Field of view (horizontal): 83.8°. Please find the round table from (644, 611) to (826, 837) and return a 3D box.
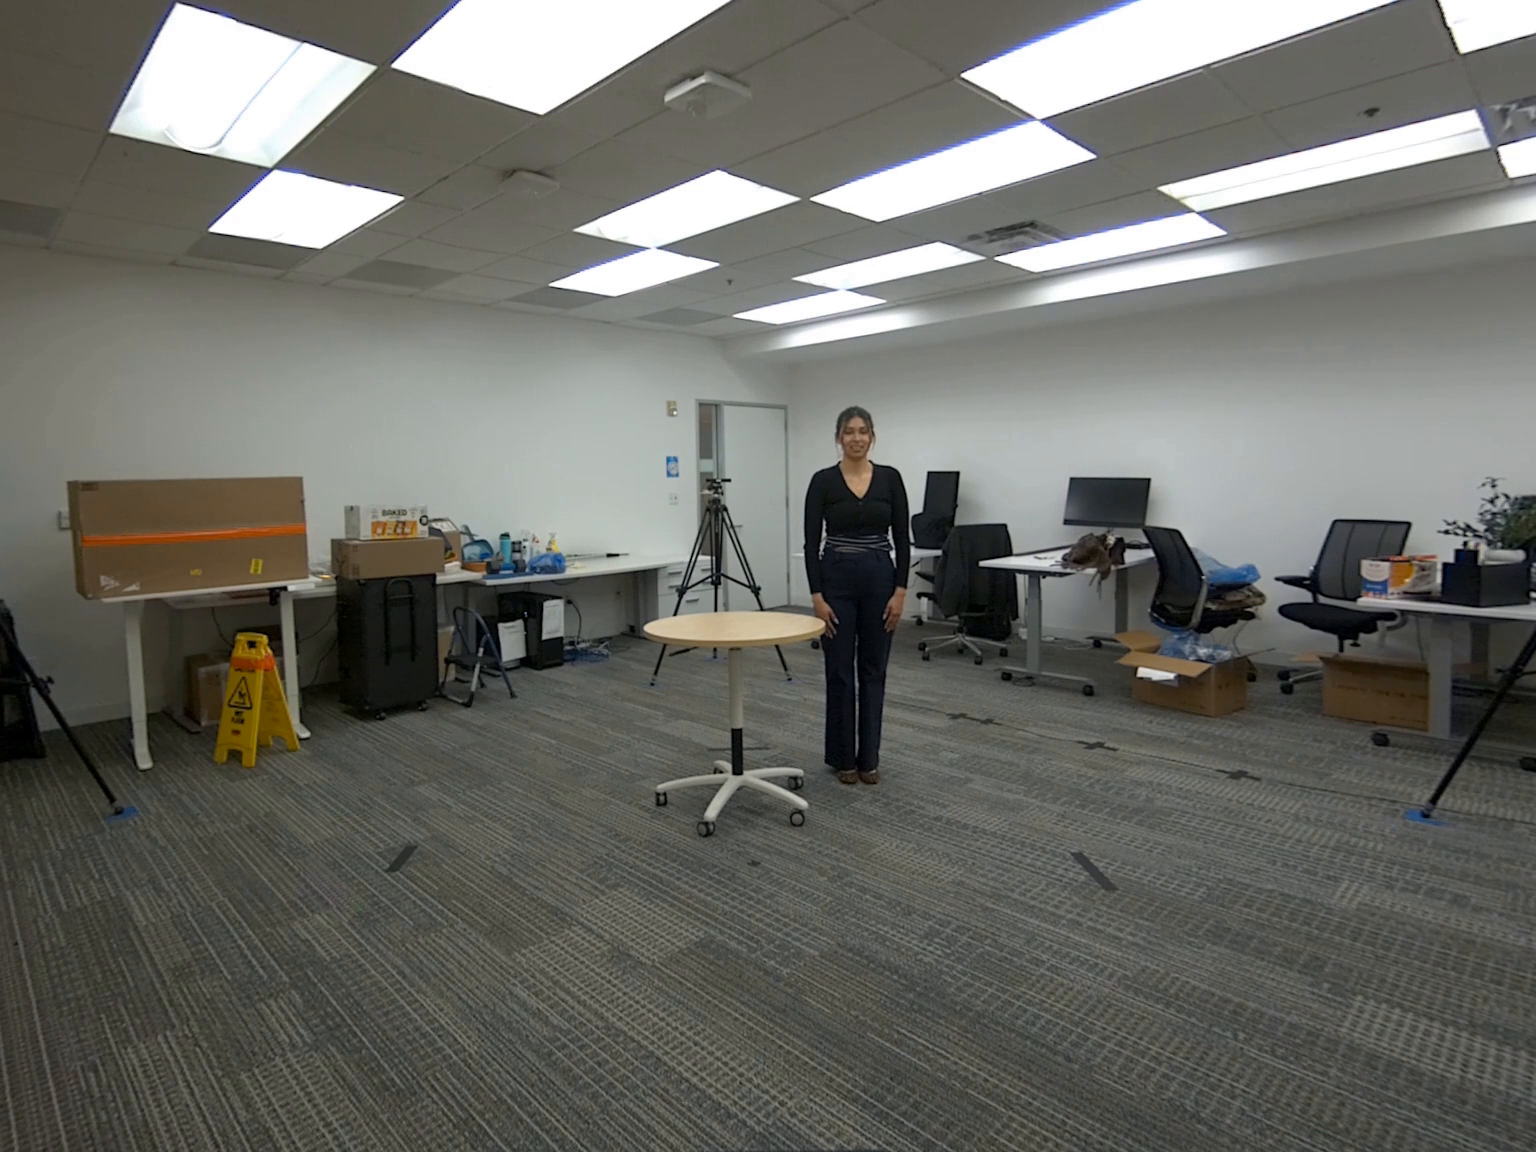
[{"bbox_3d":[-0.130,0.598,3.631,0.763,0.791,0.767,-1,4,-2],"label":"round table"}]
